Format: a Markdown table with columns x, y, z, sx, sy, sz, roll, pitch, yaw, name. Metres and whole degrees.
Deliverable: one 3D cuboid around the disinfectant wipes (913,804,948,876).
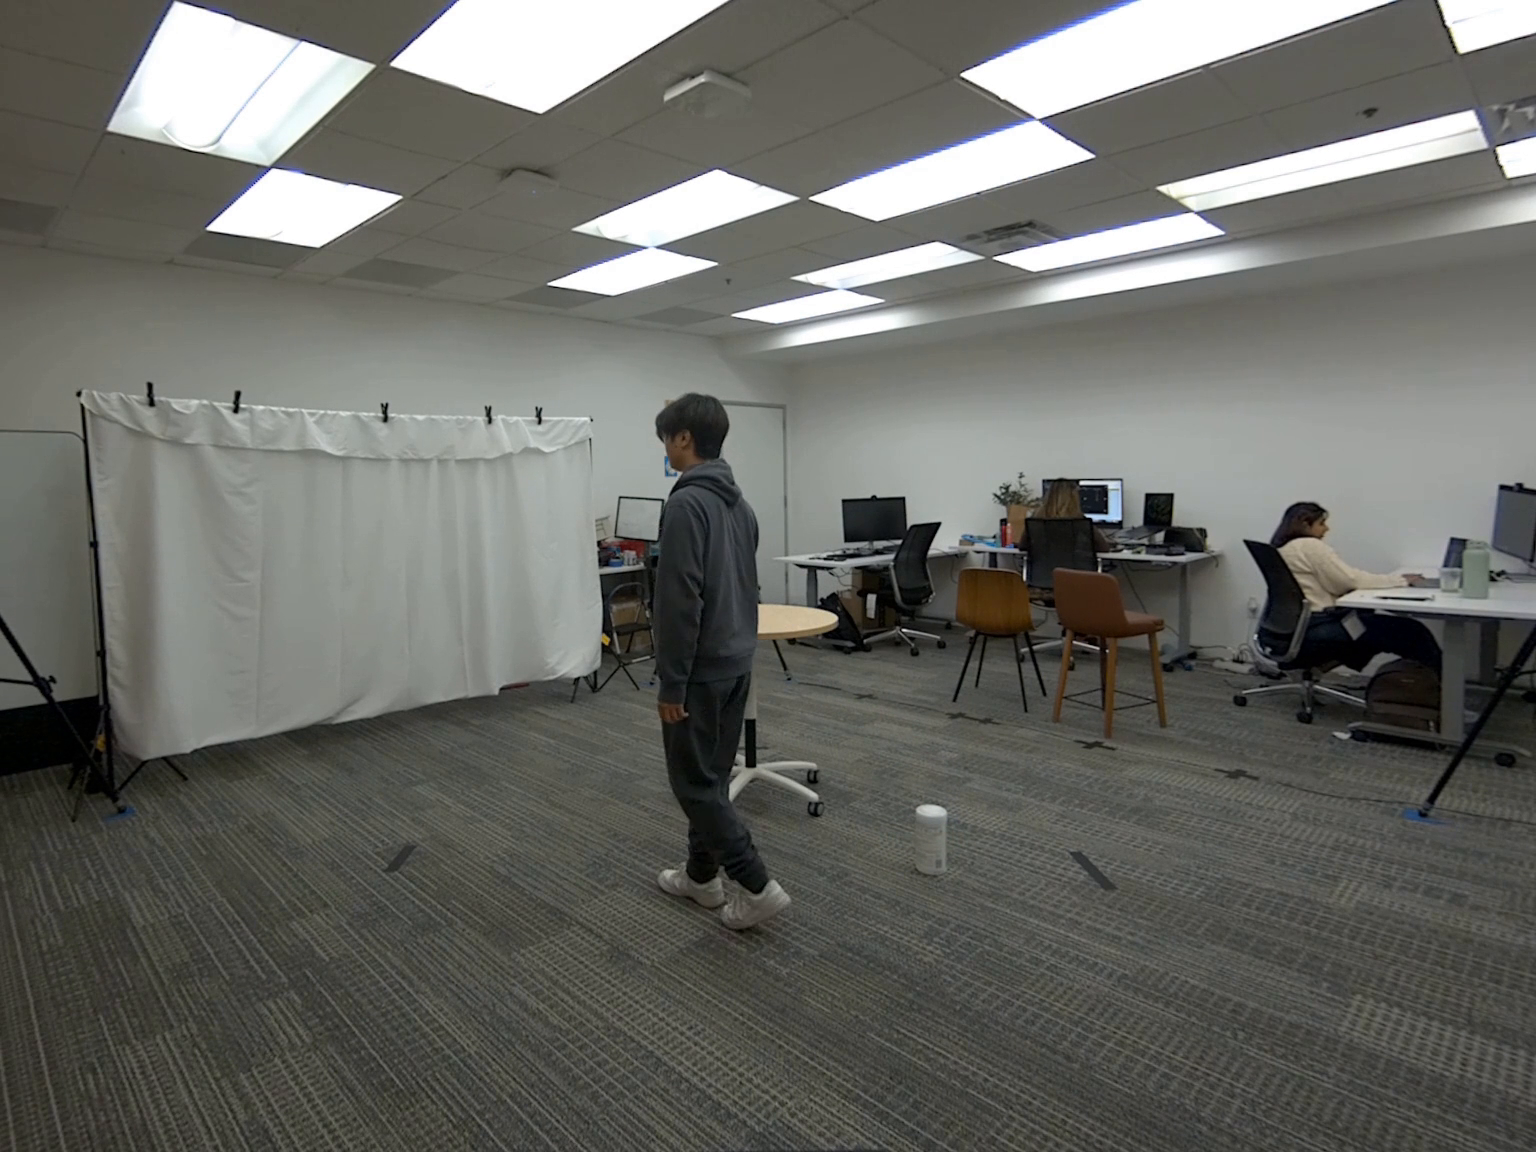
| x | y | z | sx | sy | sz | roll | pitch | yaw | name |
| --- | --- | --- | --- | --- | --- | --- | --- | --- | --- |
| 0.582 | 0.931 | 3.019 | 0.118 | 0.217 | 0.118 | -1 | 4 | -2 | disinfectant wipes |
